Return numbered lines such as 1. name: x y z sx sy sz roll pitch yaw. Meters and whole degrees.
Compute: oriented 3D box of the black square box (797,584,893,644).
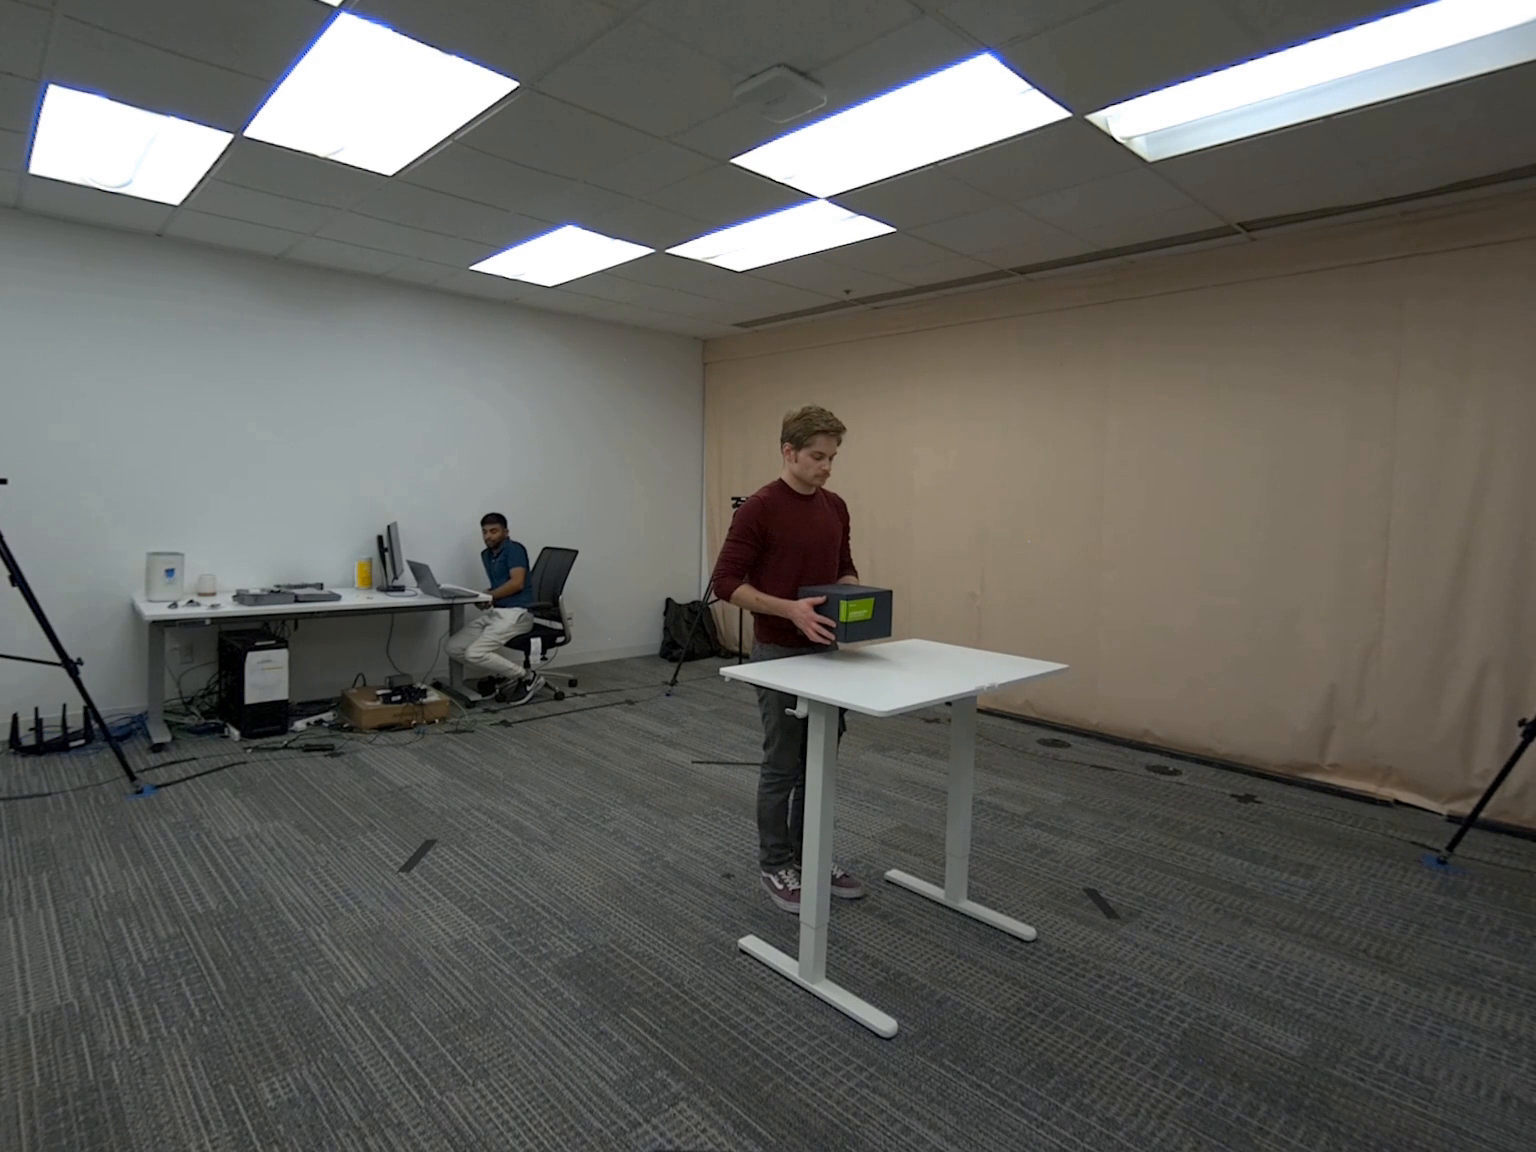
1. black square box: 0.240 0.115 2.744 0.223 0.155 0.223 -3 7 -42
